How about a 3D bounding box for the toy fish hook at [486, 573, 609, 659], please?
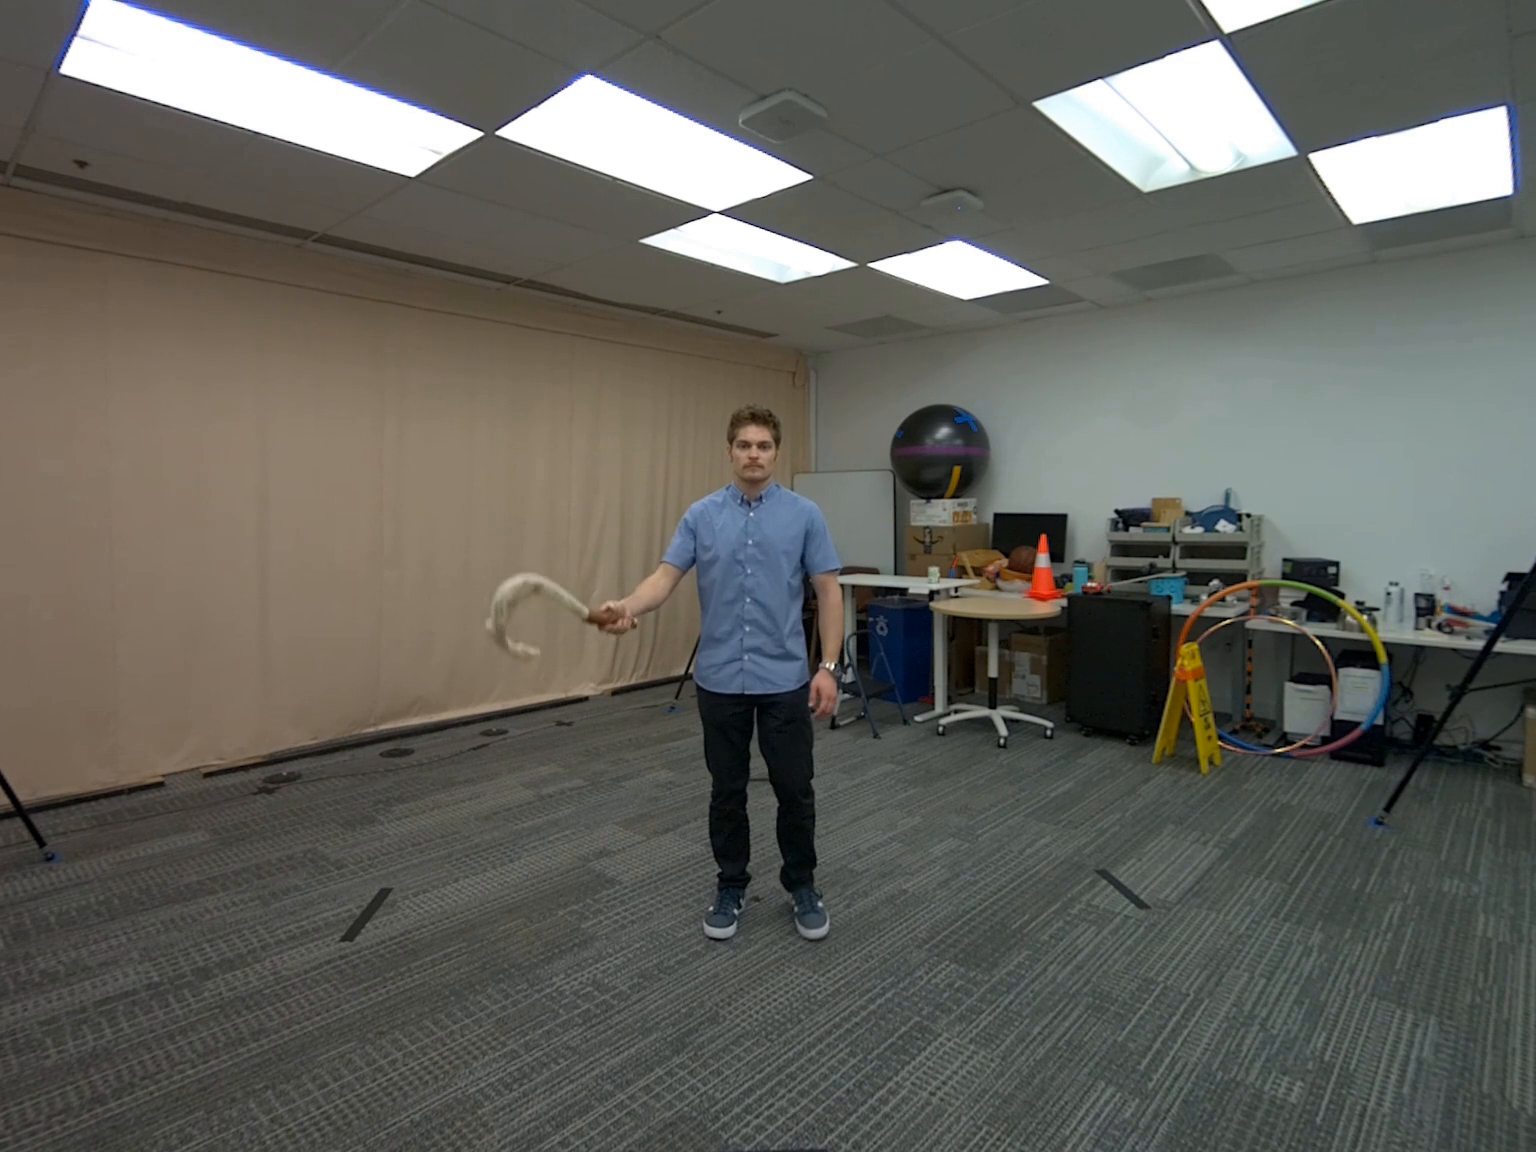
[{"bbox_3d":[-0.550,0.129,2.361,0.050,0.224,0.488,23,1,41],"label":"toy fish hook"}]
